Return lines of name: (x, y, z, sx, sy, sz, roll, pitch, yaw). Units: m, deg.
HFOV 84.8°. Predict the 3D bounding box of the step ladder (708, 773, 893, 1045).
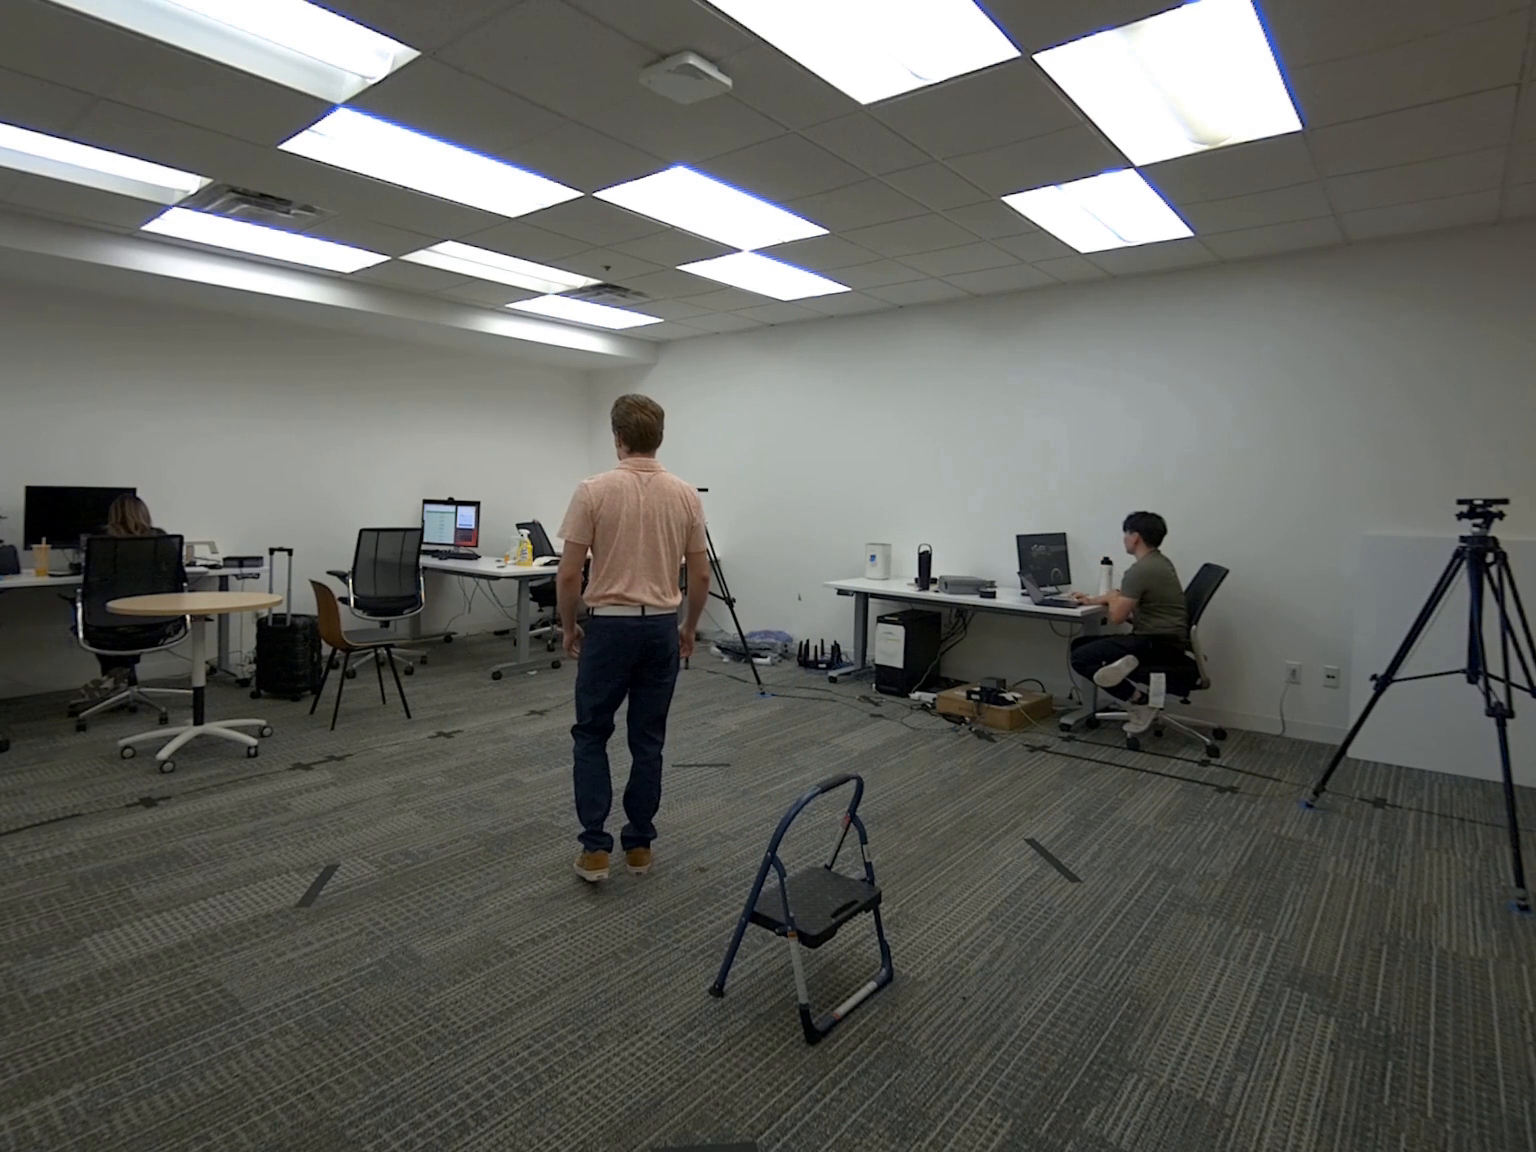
step ladder: (0.102, 0.846, 2.378, 0.361, 0.604, 0.418, 4, 5, 38)
